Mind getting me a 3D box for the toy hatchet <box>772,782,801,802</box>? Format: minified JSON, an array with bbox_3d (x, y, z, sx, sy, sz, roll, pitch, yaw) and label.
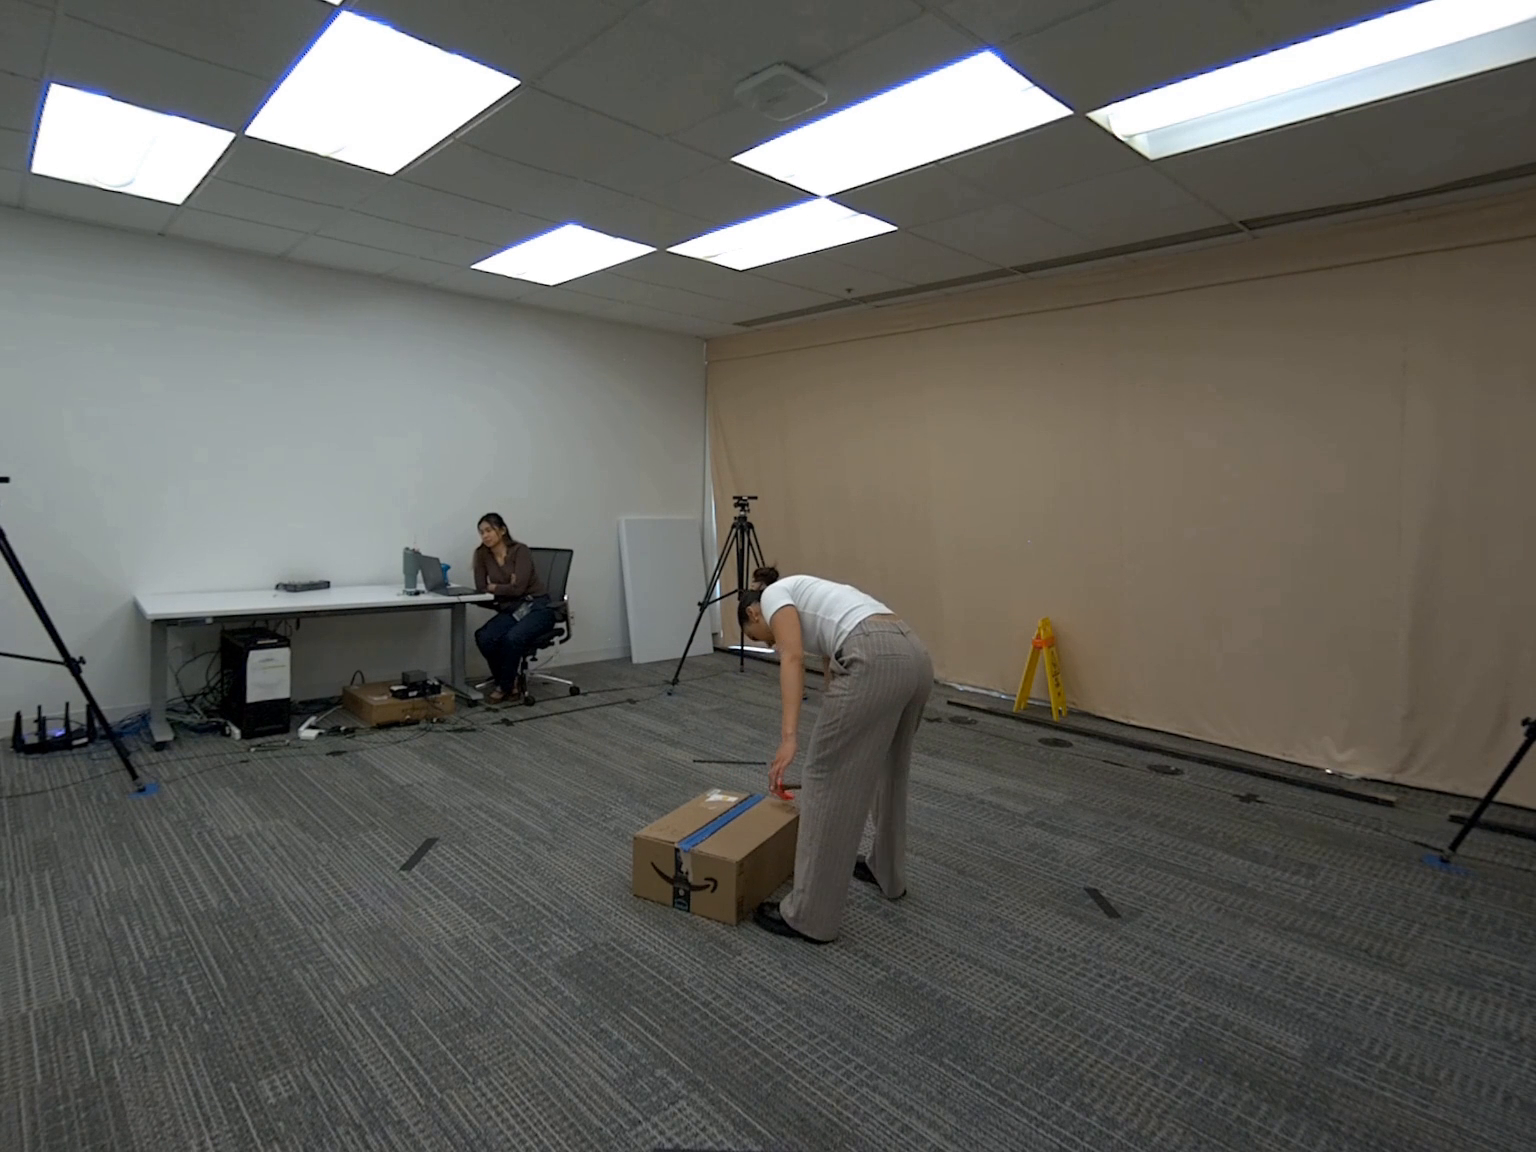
[{"bbox_3d":[0.120,0.830,3.164,0.276,0.128,0.029,7,36,31],"label":"toy hatchet"}]
